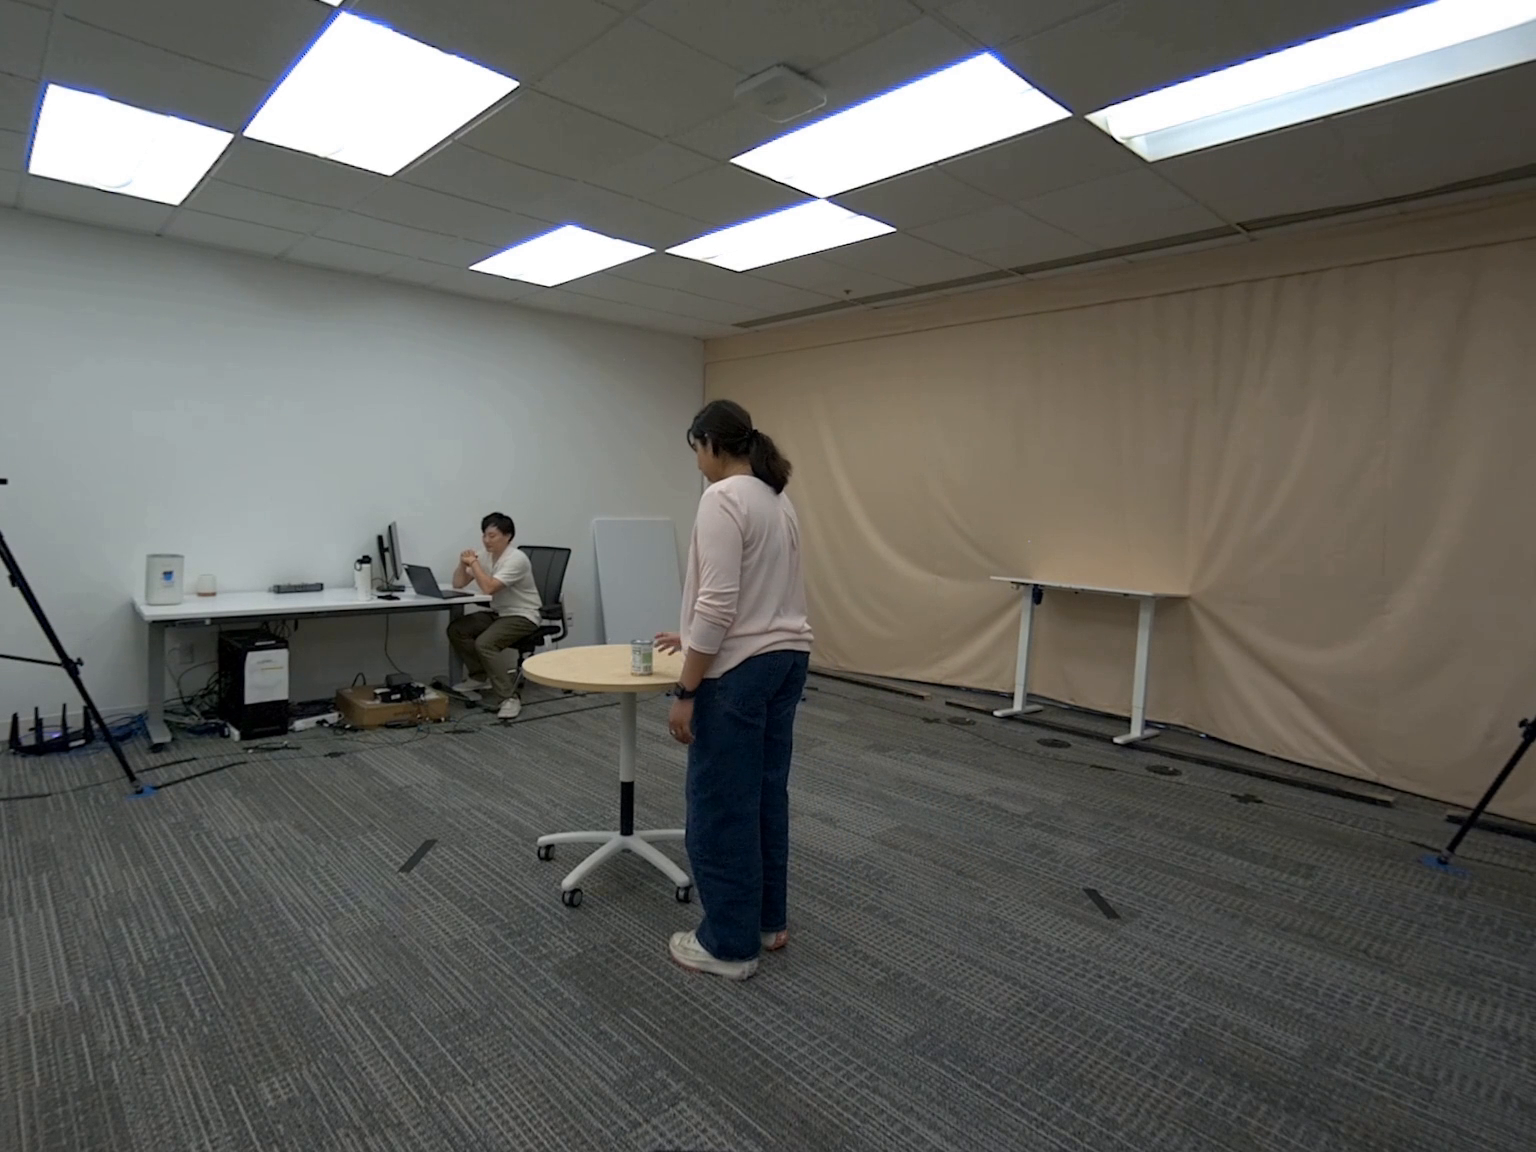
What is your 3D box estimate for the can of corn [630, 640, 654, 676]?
[{"bbox_3d":[-0.440,0.281,2.870,0.074,0.111,0.074,1,4,-1],"label":"can of corn"}]
